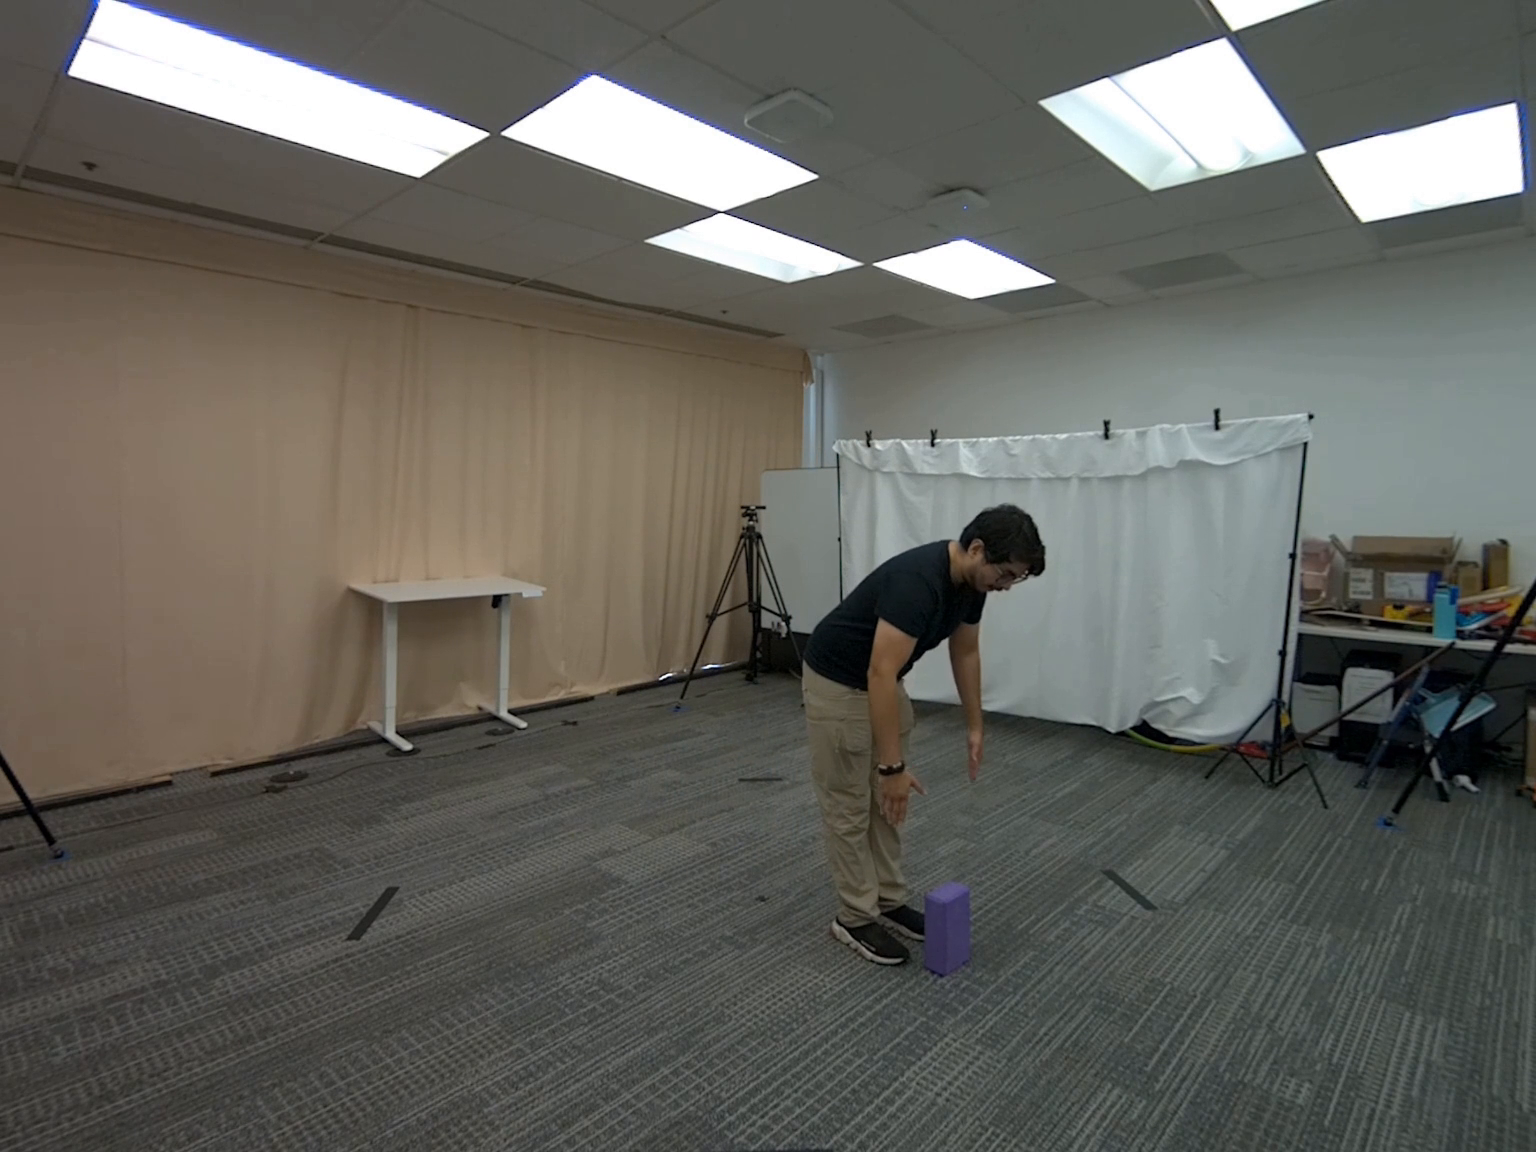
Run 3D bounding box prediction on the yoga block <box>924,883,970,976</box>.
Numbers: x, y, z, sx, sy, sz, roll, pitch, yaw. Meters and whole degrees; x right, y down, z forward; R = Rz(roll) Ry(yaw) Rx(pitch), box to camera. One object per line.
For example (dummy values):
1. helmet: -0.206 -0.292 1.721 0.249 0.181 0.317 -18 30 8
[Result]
1. yoga block: 0.549 1.061 2.546 0.144 0.229 0.079 -3 3 -43
